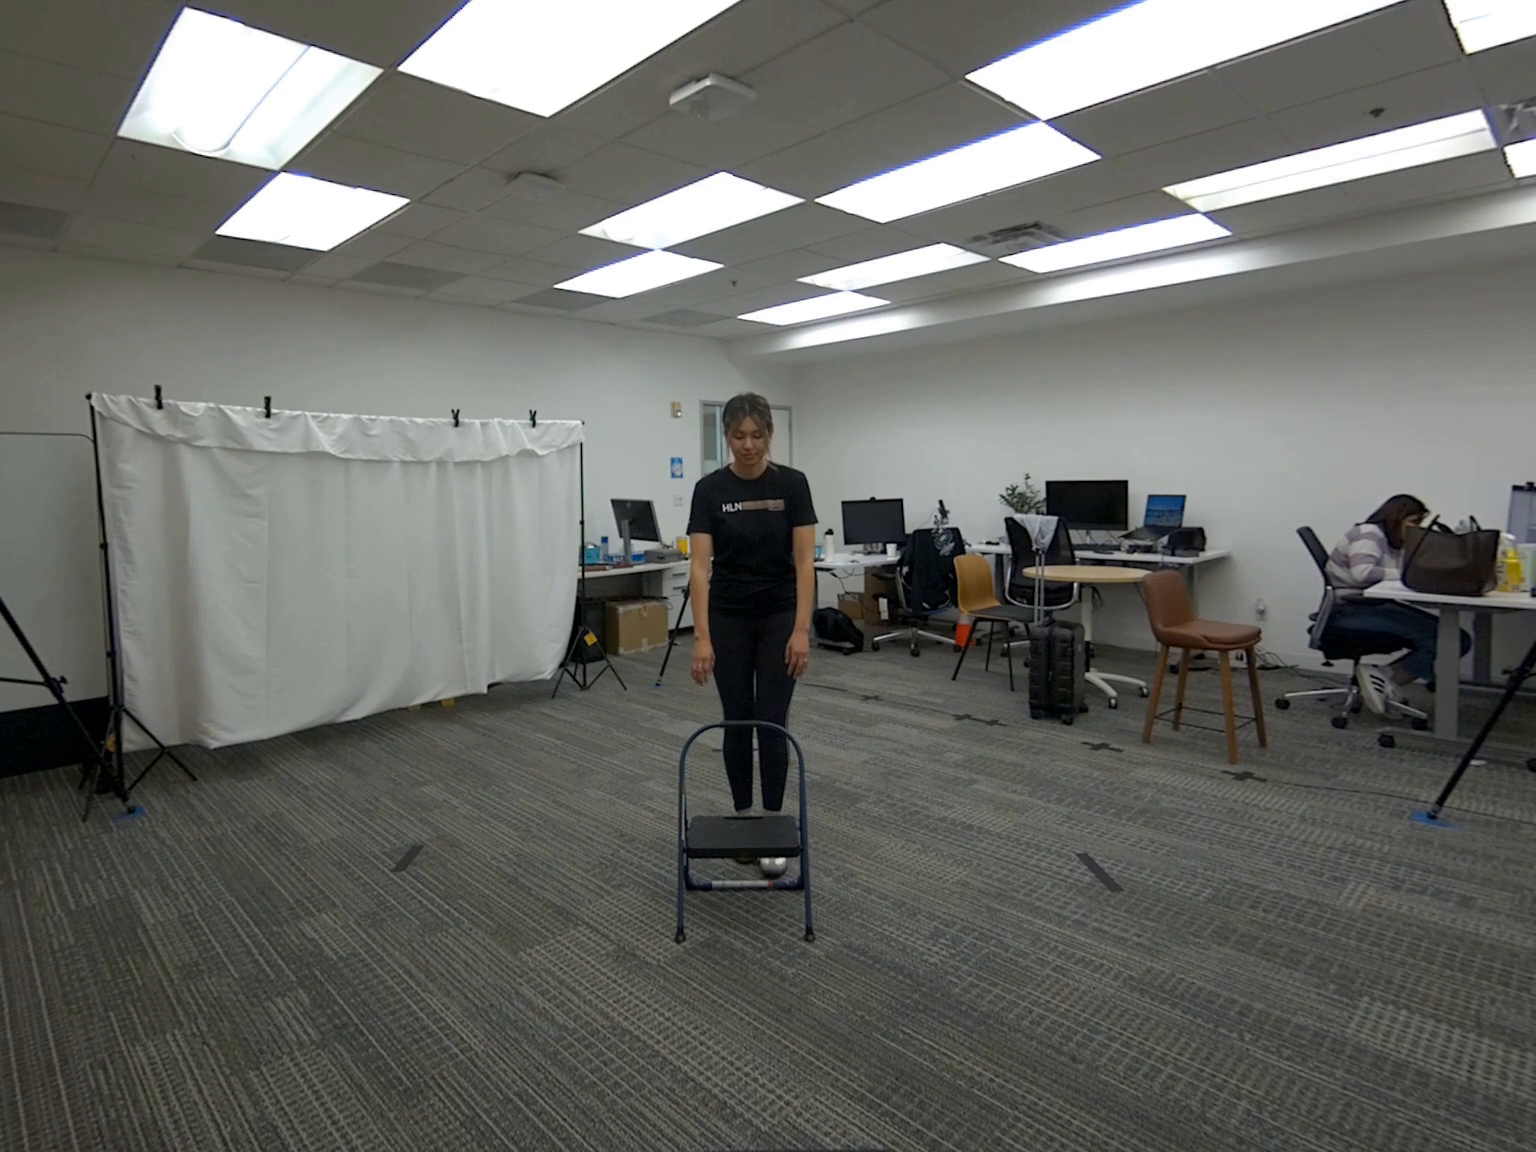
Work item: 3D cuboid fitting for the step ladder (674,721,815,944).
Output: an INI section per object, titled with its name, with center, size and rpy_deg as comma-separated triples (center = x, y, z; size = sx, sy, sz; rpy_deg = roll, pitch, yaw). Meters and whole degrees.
[step ladder]
center = -0.078, 0.794, 2.742
size = 0.431, 0.603, 0.351
rpy_deg = 0, 5, -1
